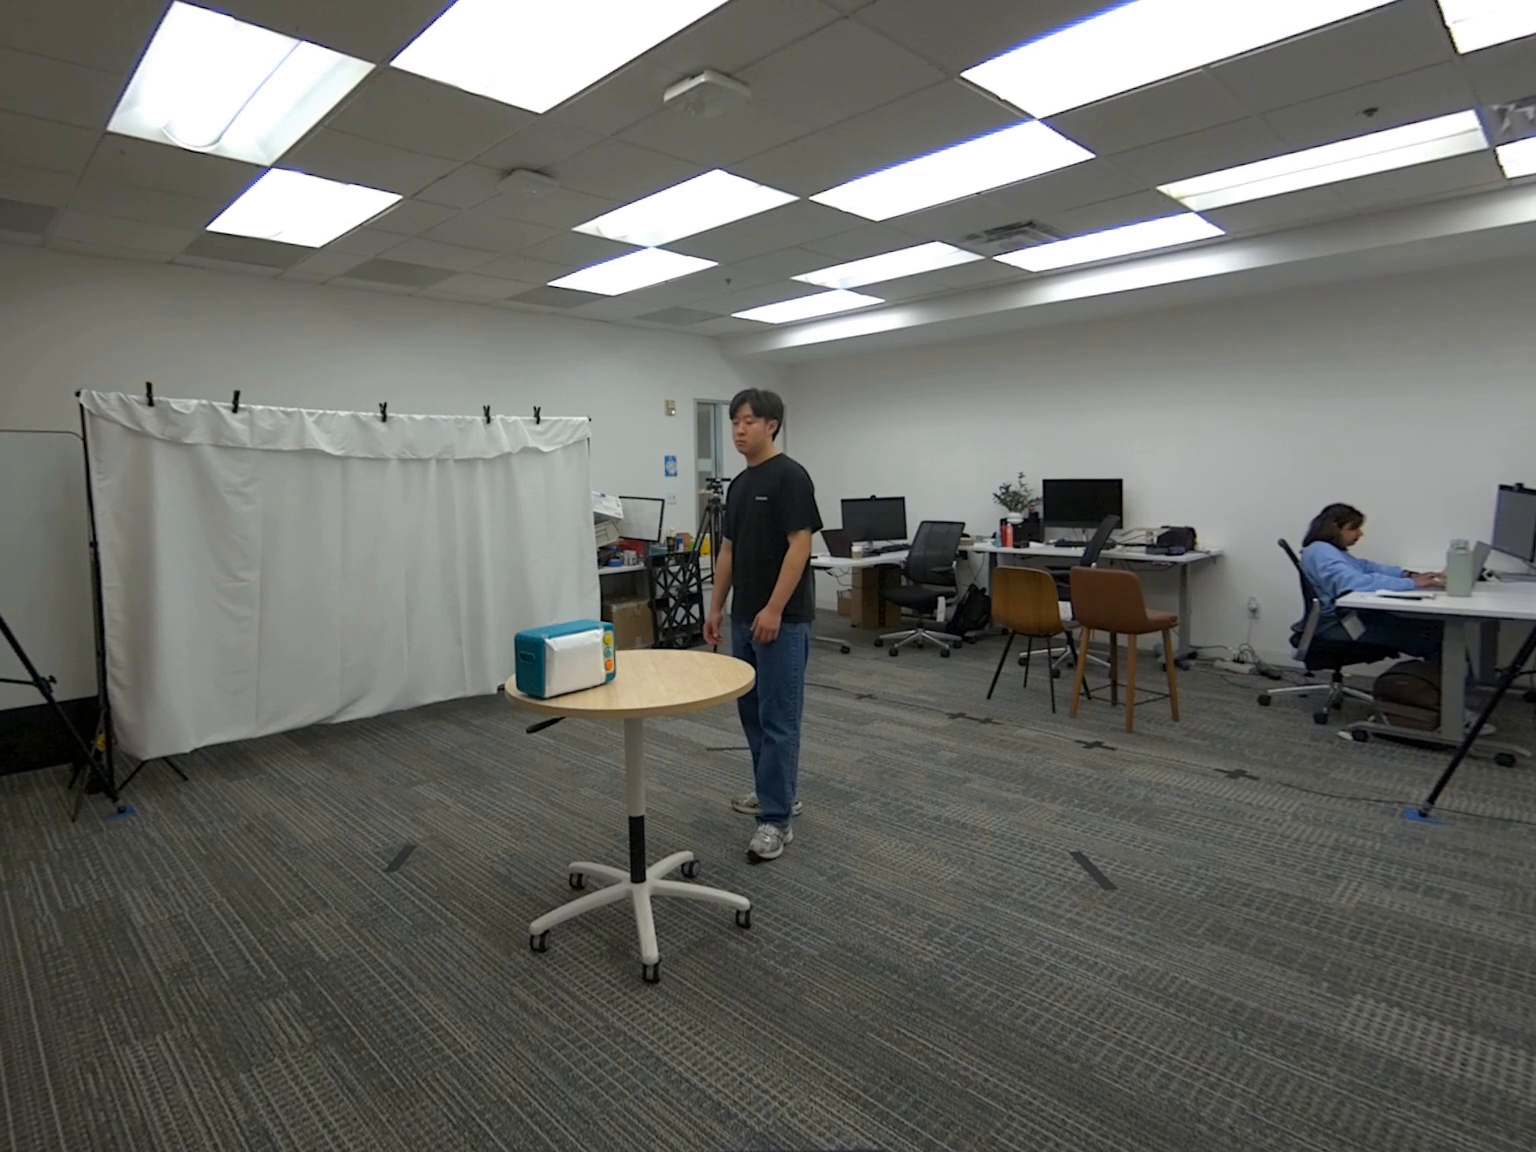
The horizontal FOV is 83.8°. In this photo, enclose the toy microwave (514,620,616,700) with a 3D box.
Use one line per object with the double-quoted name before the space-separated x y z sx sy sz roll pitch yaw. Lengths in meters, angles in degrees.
"toy microwave" -0.577 0.239 2.484 0.157 0.183 0.279 3 8 40
